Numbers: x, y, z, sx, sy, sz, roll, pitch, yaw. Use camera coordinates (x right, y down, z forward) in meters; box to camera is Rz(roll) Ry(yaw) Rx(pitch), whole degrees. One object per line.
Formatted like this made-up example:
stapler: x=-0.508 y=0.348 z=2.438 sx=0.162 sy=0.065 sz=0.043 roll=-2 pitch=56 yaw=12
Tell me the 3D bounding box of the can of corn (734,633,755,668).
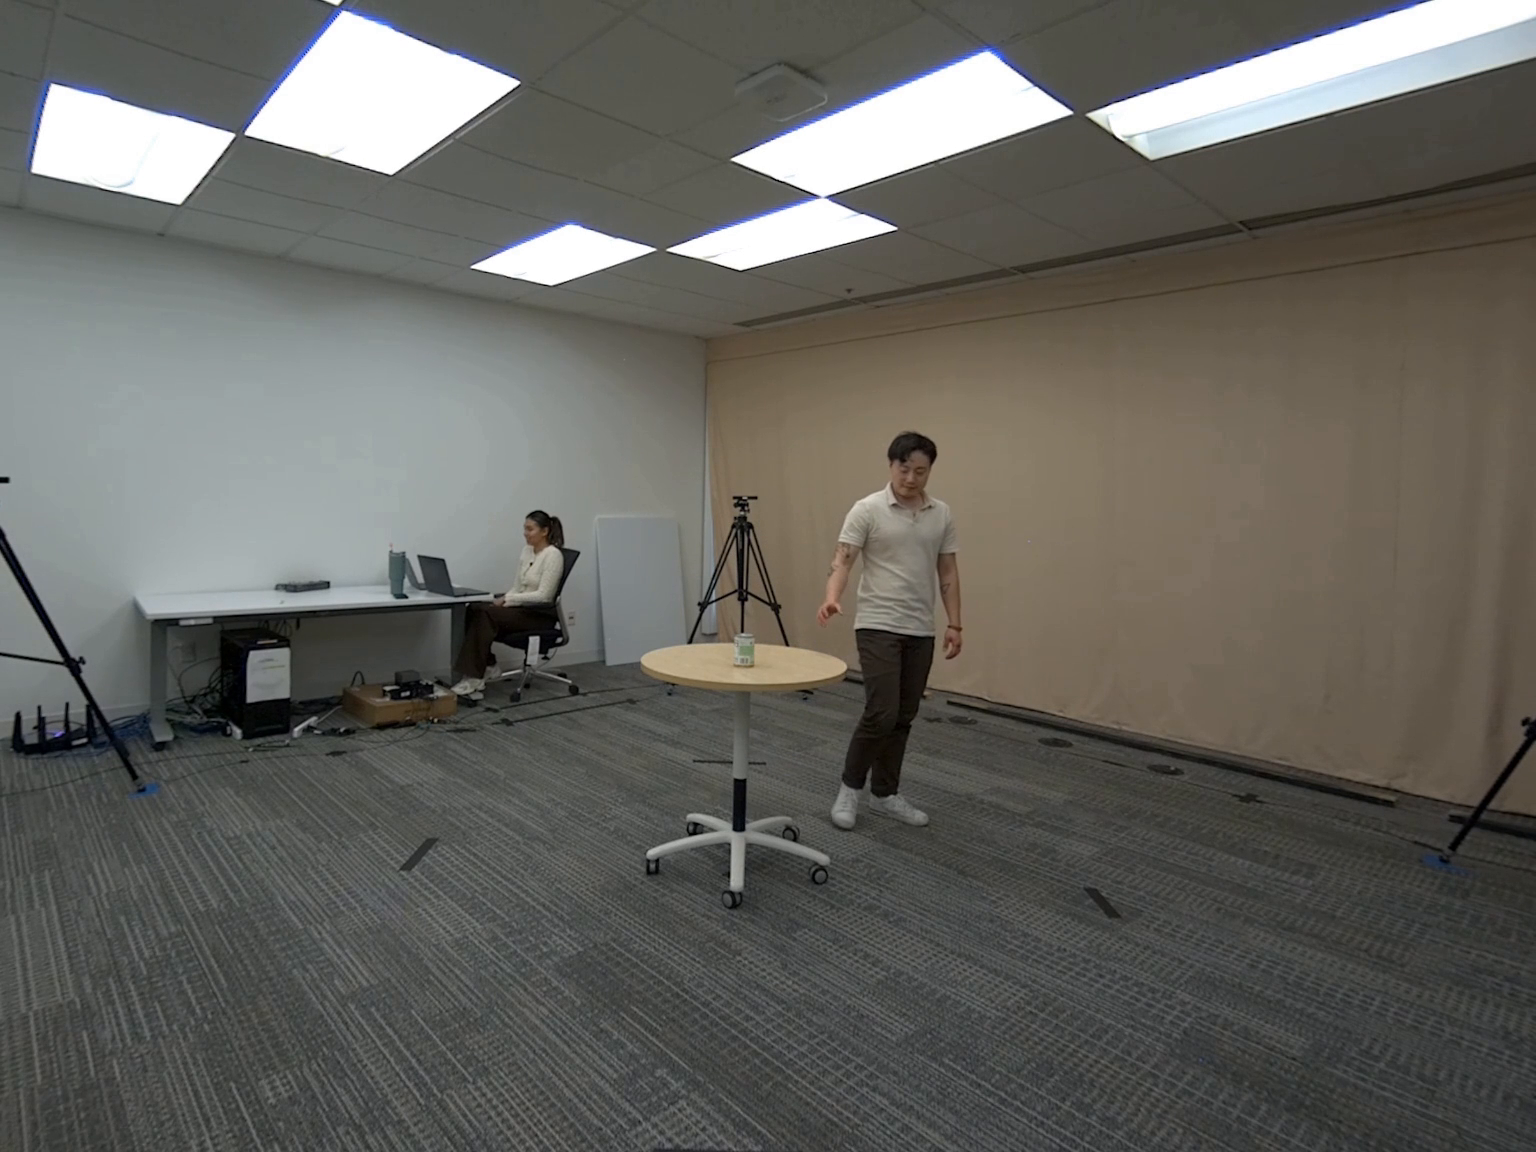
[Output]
can of corn: x=-0.090 y=0.272 z=3.043 sx=0.074 sy=0.110 sz=0.074 roll=3 pitch=6 yaw=-2
